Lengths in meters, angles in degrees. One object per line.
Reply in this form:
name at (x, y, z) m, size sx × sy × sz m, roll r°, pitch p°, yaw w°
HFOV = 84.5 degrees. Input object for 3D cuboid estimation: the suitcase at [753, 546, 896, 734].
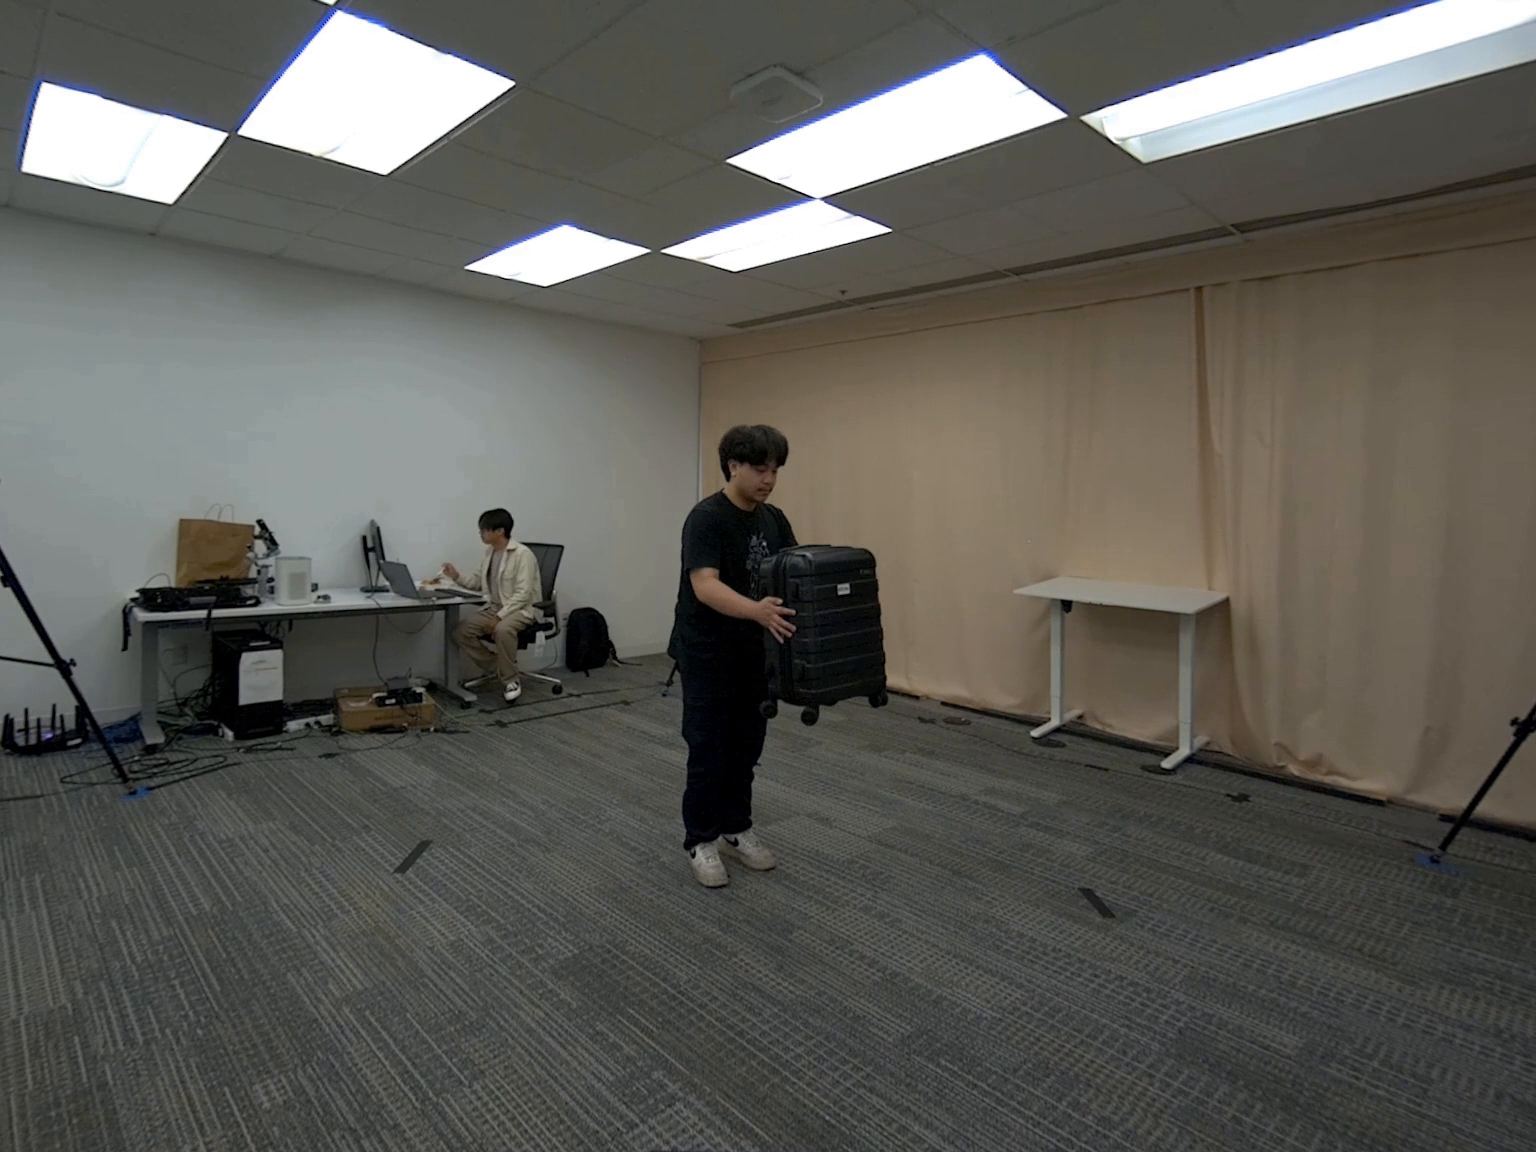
suitcase at (0.182, 0.187, 2.782) m, size 0.367 × 0.549 × 0.254 m, roll -4°, pitch 2°, yaw -39°
